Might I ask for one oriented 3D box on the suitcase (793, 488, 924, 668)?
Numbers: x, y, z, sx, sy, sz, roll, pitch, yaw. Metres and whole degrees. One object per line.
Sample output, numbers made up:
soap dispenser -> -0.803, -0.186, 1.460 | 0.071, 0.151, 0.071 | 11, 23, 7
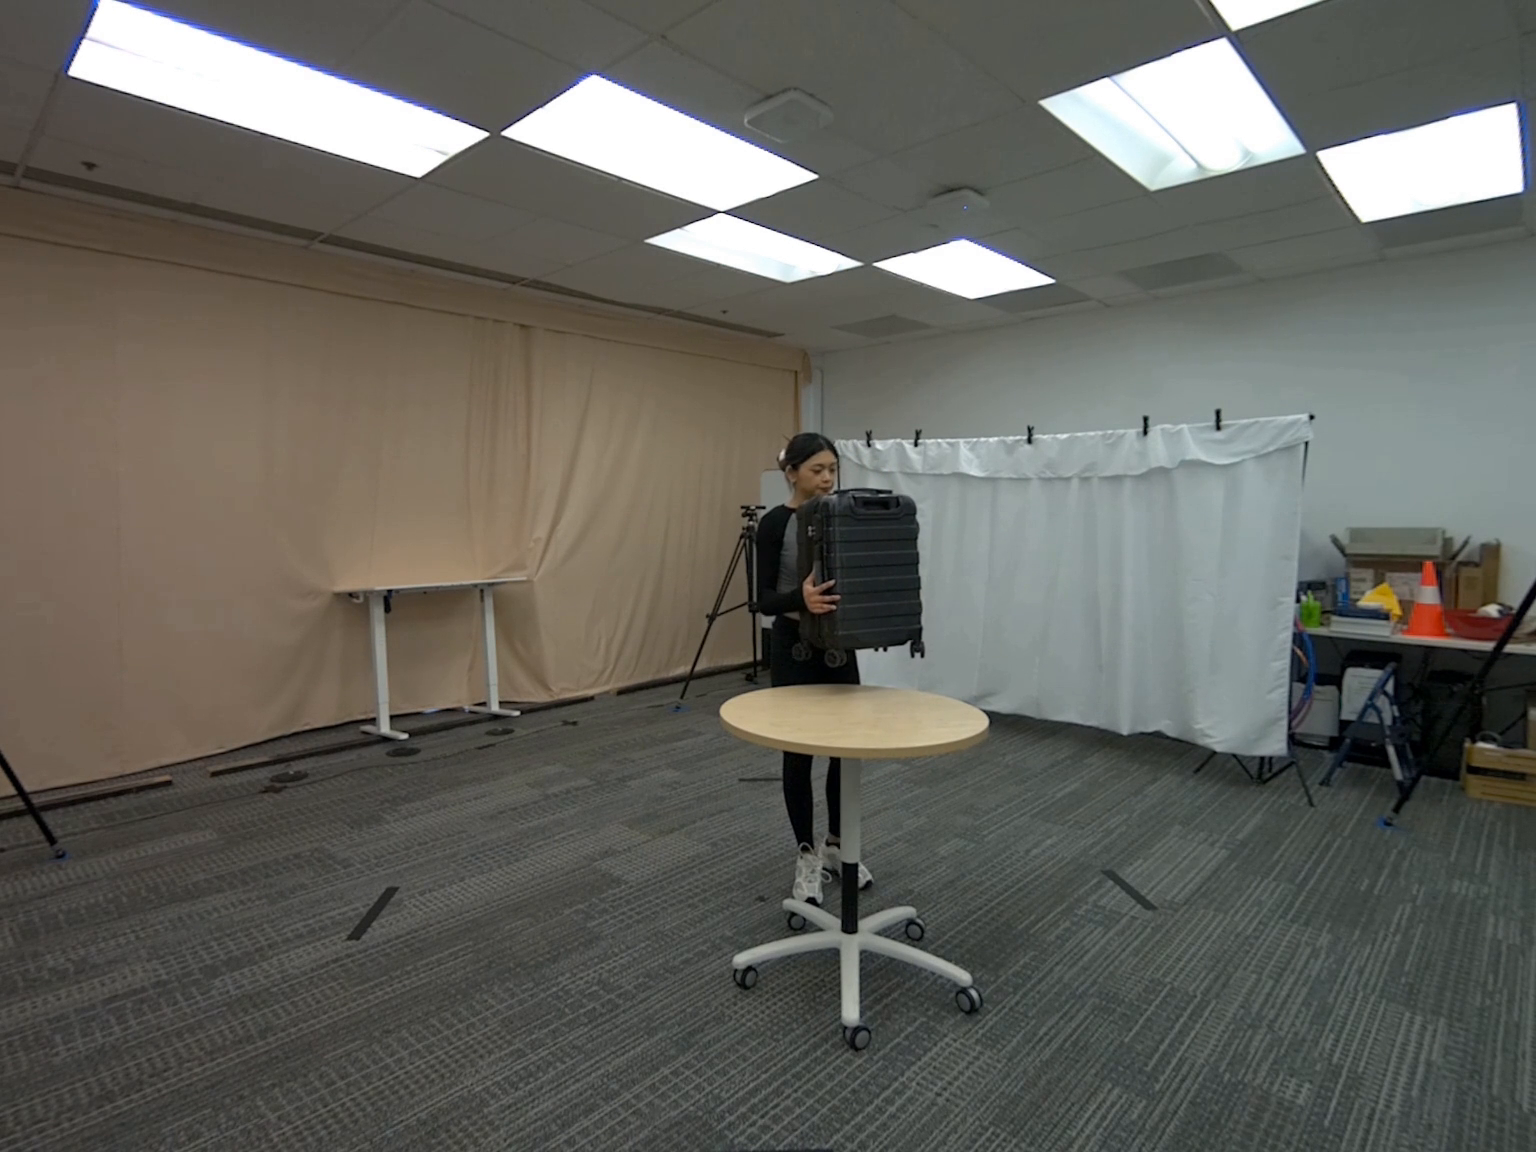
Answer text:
suitcase -> 0.301, -0.005, 2.759 | 0.366, 0.549, 0.255 | -3, 2, -27
